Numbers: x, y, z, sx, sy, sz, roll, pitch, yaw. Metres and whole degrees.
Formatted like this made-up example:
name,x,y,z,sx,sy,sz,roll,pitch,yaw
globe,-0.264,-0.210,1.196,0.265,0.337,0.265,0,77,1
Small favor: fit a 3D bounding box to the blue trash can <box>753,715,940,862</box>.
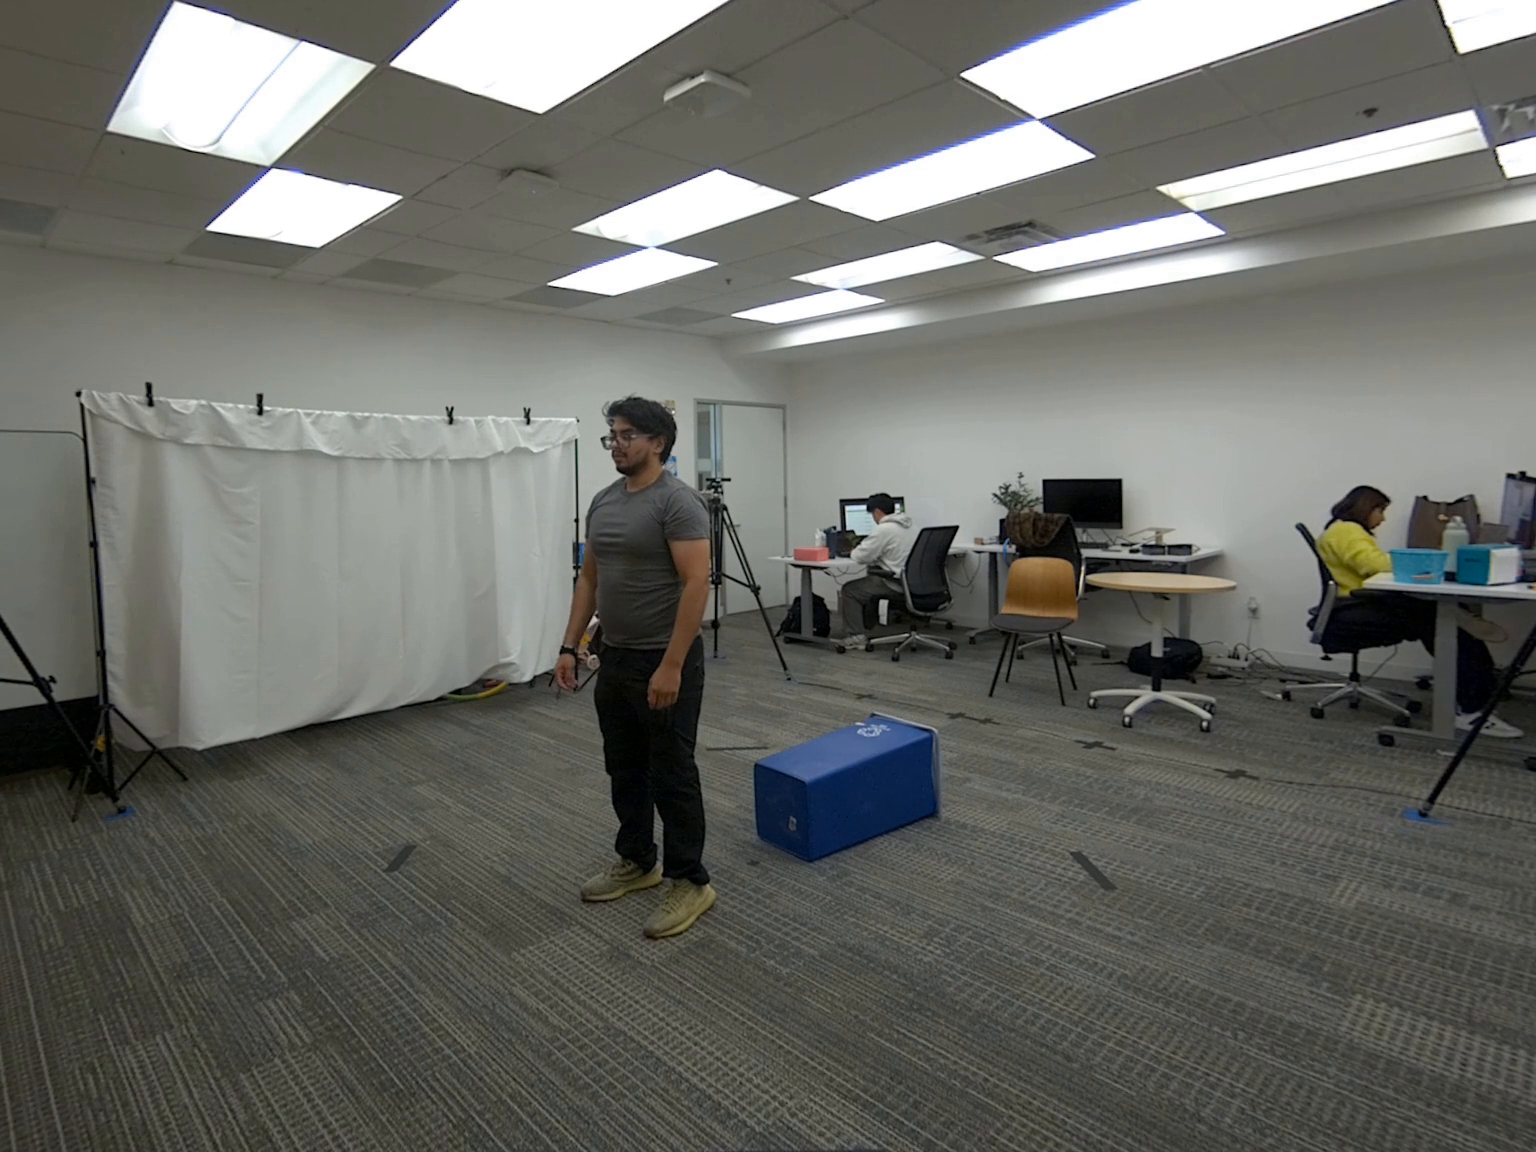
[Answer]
name,x,y,z,sx,sy,sz,roll,pitch,yaw
blue trash can,0.318,0.823,3.405,0.696,0.372,0.390,-8,8,-39
